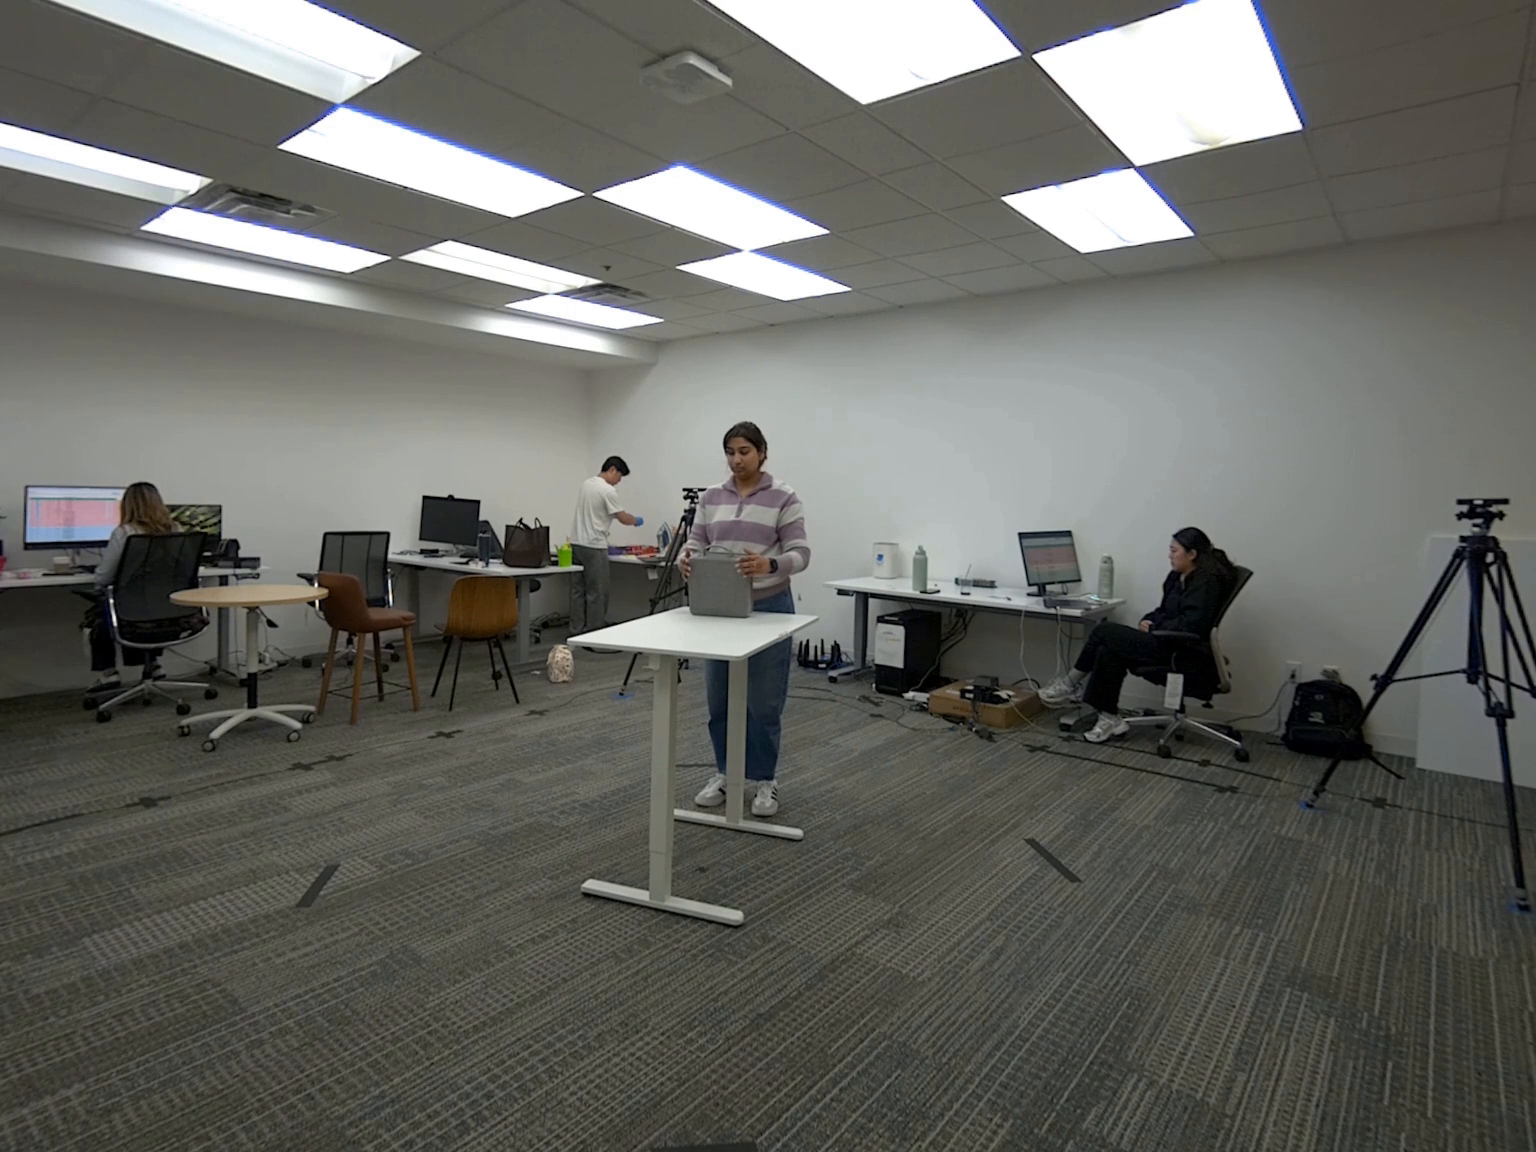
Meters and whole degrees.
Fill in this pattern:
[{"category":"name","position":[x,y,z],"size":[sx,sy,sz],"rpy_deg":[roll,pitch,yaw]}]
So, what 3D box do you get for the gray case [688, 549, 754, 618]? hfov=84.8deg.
[{"category":"gray case","position":[-0.198,0.033,3.415],"size":[0.260,0.257,0.104],"rpy_deg":[4,12,12]}]
